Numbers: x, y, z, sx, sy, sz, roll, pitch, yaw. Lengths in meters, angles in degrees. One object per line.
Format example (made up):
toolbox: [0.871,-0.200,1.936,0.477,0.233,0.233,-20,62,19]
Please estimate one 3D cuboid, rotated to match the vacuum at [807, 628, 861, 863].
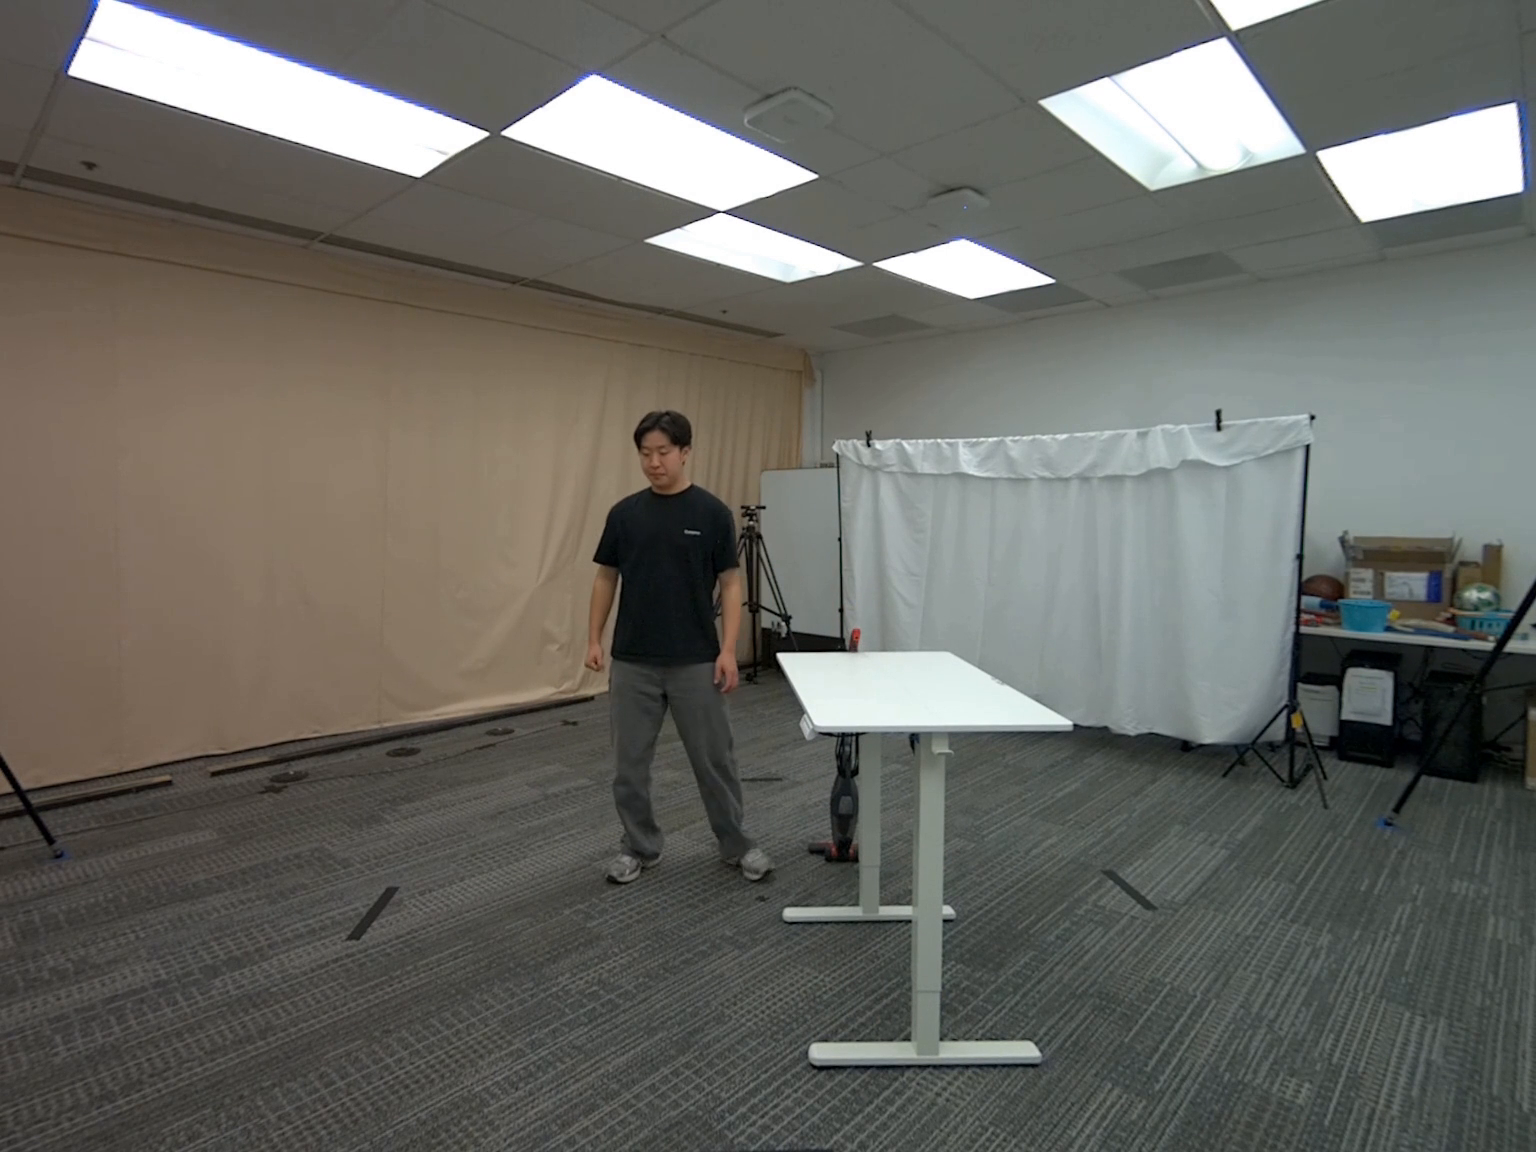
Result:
vacuum: [0.295,0.649,3.104,0.252,1.032,0.146,-2,27,-2]
